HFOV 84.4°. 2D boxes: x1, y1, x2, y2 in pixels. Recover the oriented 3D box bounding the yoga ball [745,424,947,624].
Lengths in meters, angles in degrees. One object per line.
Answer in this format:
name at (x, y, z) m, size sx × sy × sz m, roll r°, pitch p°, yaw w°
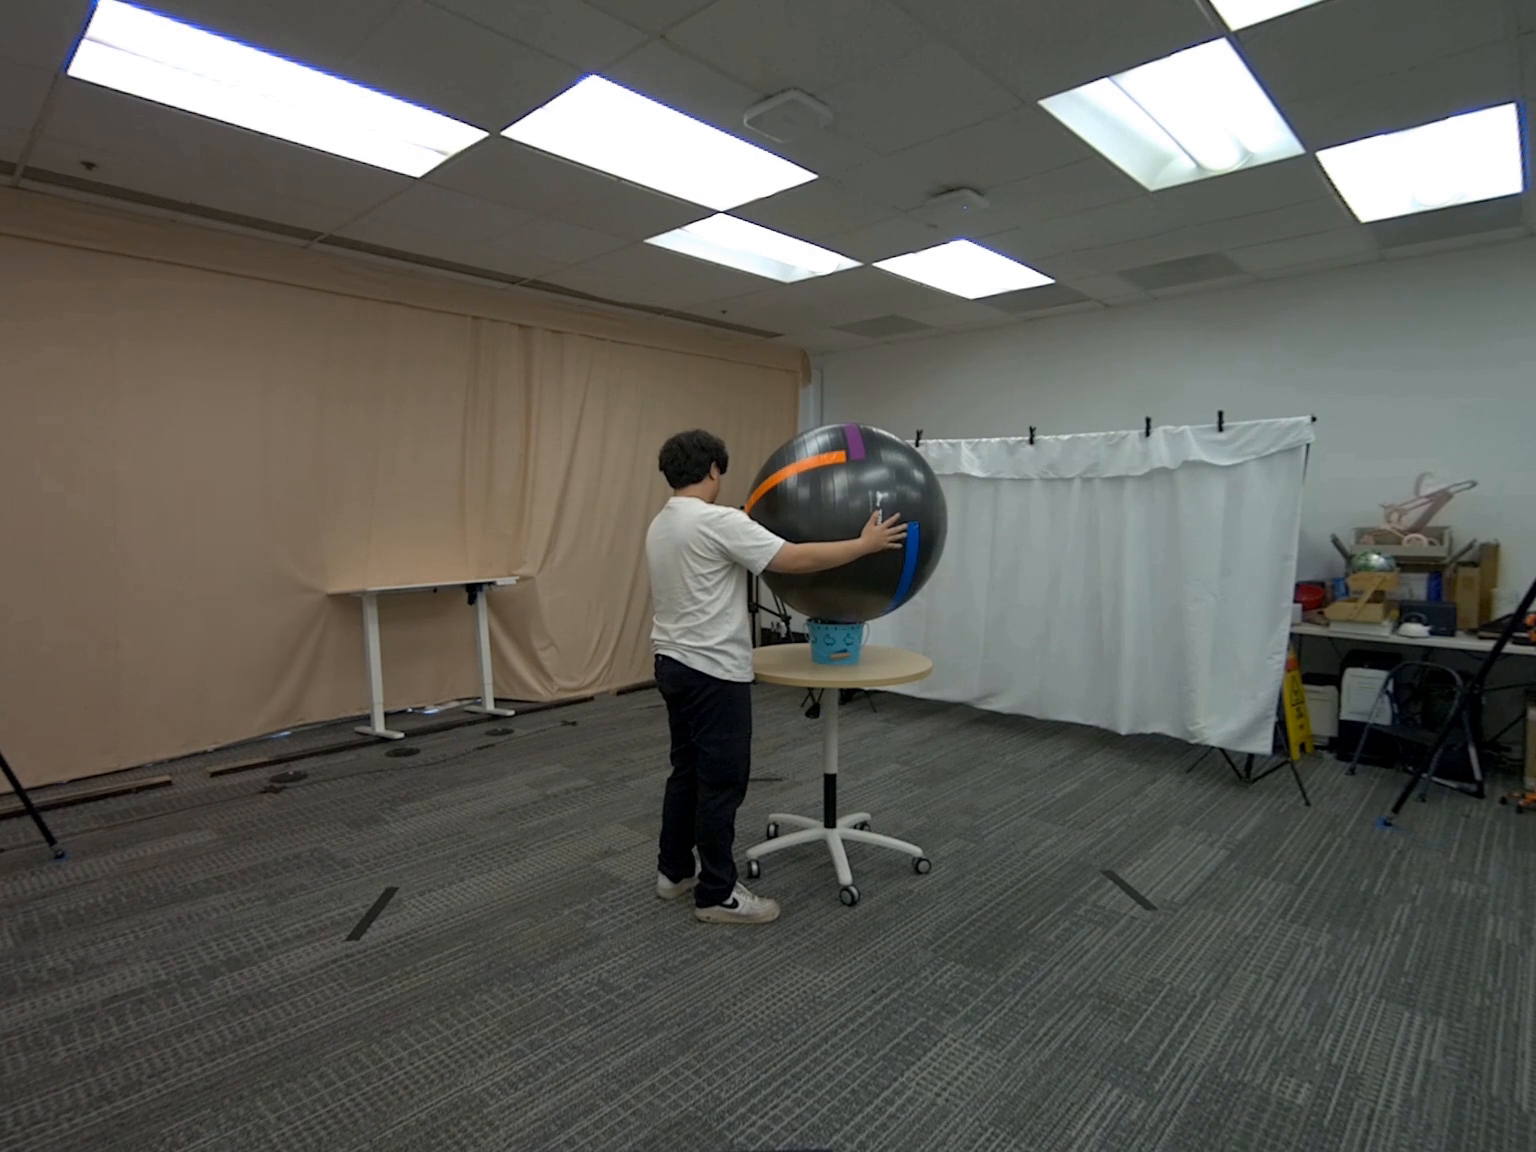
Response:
yoga ball at (0.296, -0.197, 3.212) m, size 0.757 × 0.756 × 0.761 m, roll 0°, pitch 4°, yaw -2°
